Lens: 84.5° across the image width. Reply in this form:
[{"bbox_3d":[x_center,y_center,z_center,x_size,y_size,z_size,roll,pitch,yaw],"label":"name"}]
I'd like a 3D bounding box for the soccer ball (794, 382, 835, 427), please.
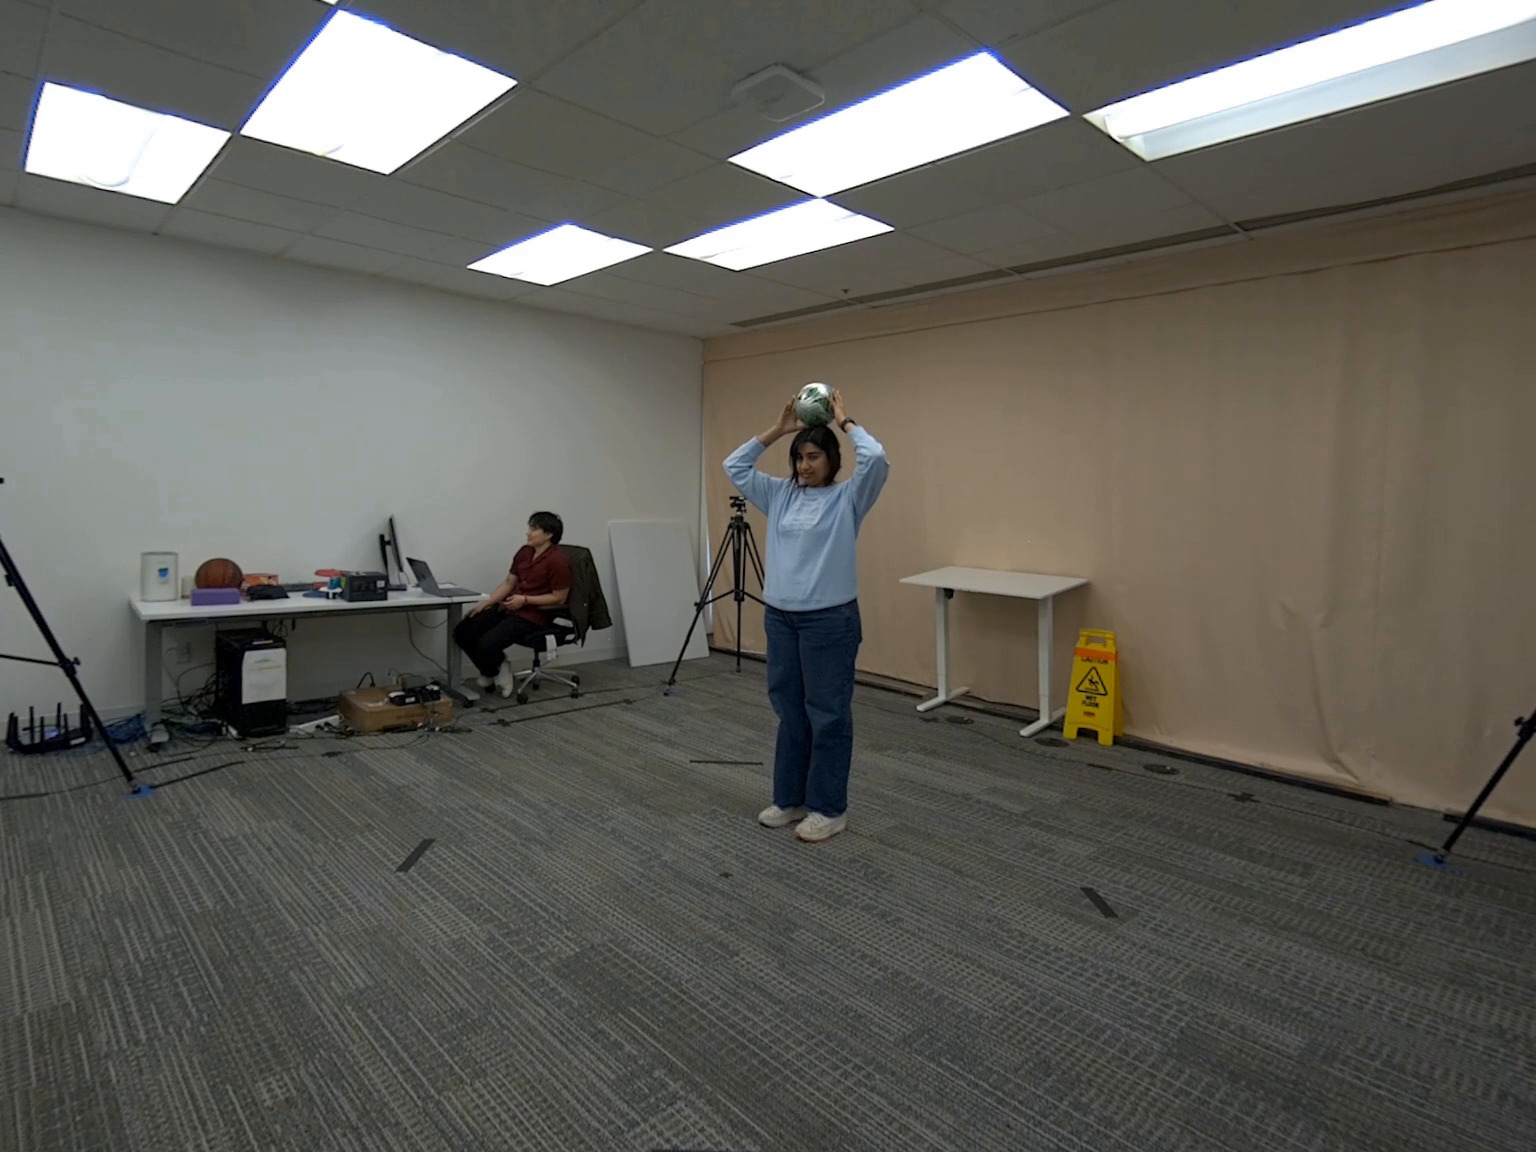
[{"bbox_3d":[0.196,-0.711,3.521,0.187,0.187,0.188,1,4,-1],"label":"soccer ball"}]
